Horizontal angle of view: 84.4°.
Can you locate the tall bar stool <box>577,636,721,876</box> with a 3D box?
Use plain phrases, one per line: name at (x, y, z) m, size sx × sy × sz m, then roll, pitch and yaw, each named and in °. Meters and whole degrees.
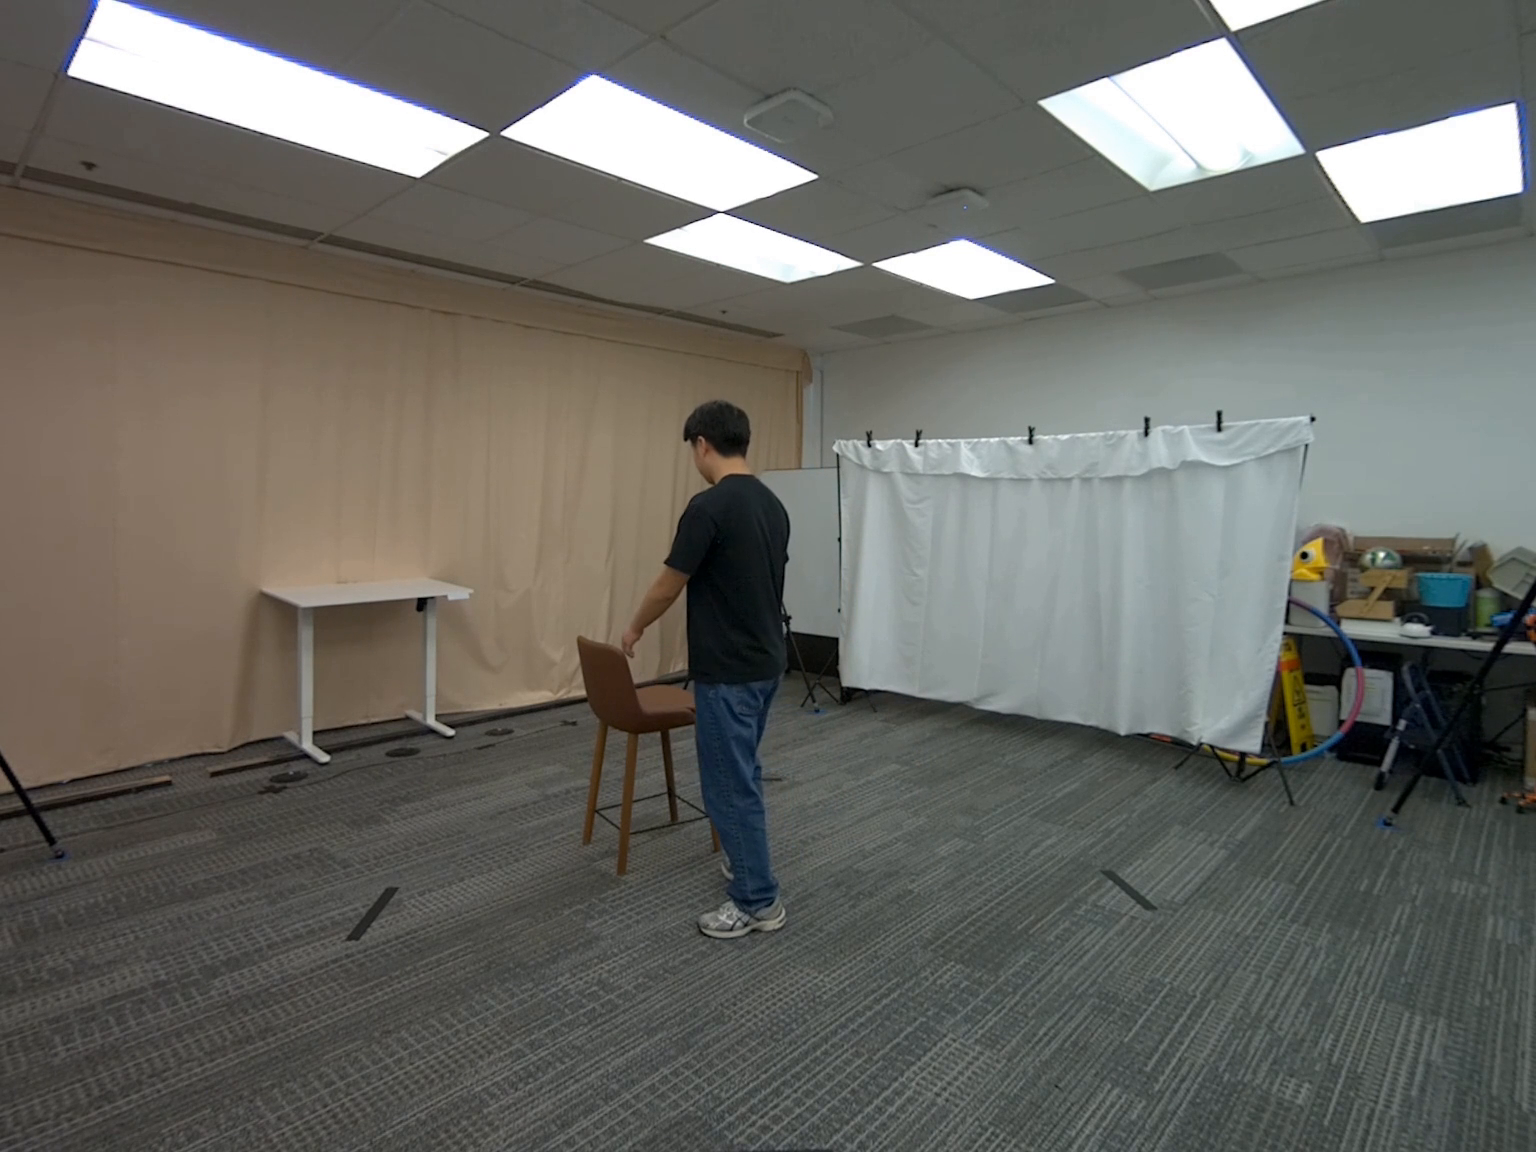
tall bar stool at (-0.491, 0.674, 3.433) m, size 0.455 × 0.887 × 0.470 m, roll -5°, pitch 5°, yaw -32°
